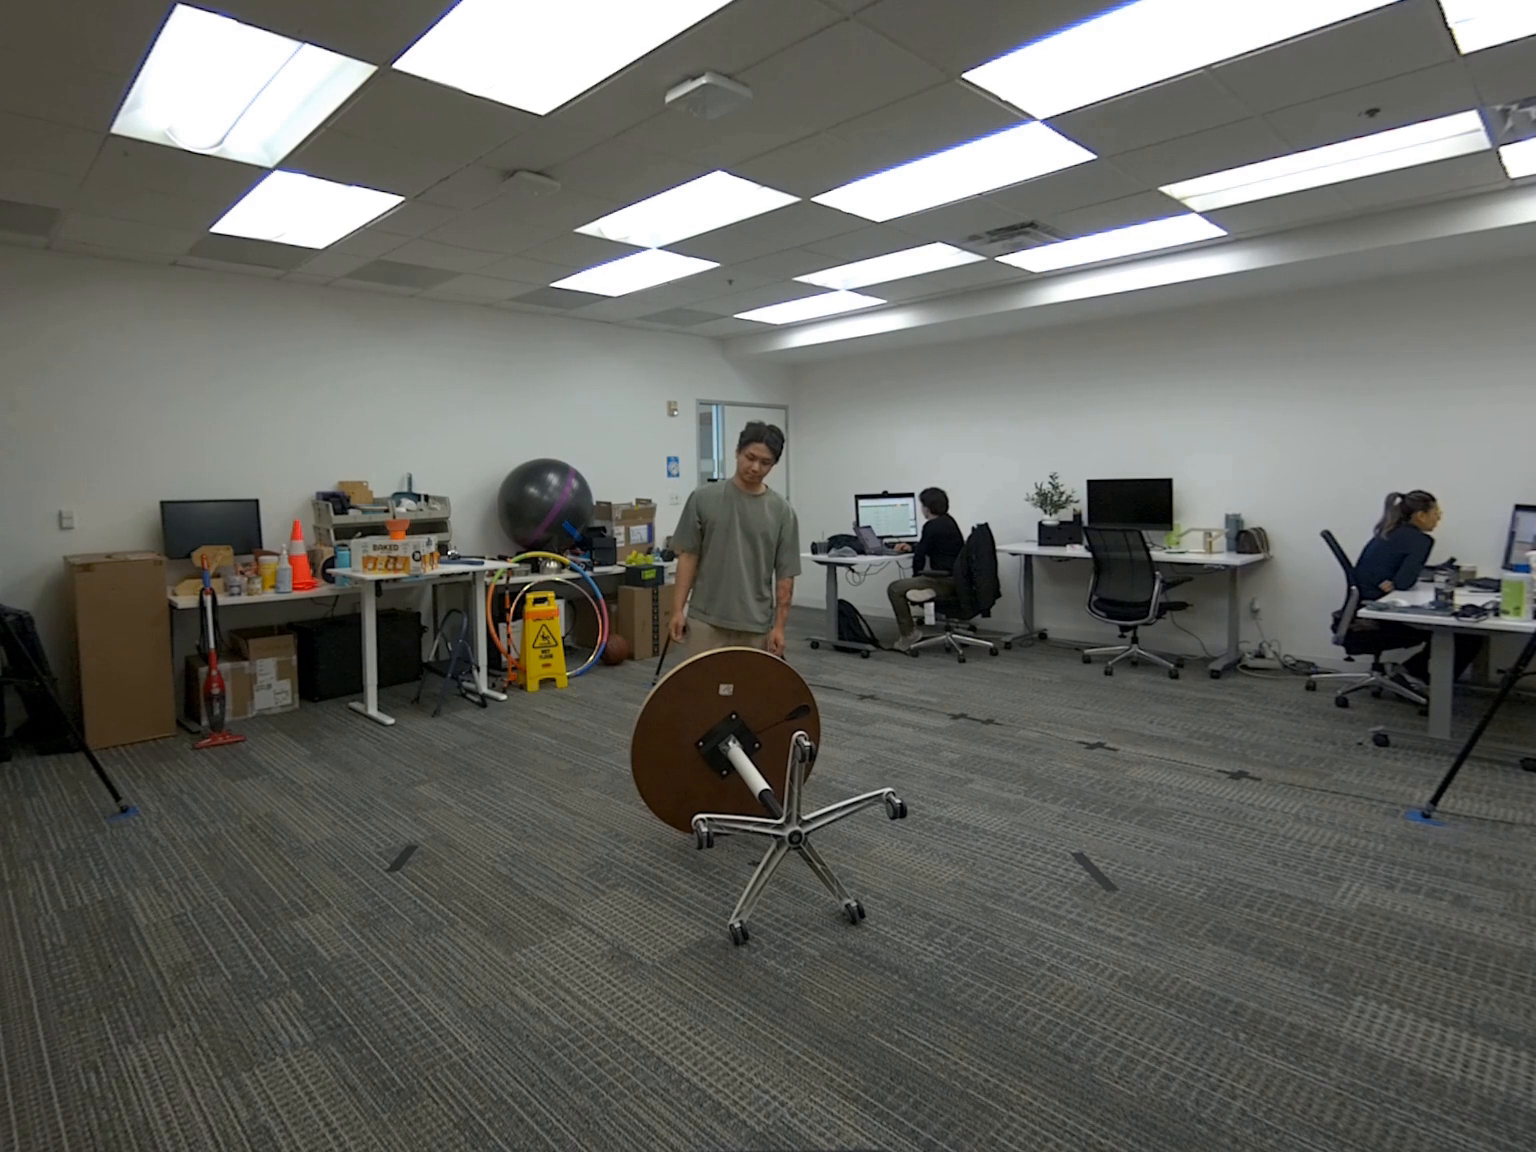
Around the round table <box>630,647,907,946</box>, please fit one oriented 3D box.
[{"bbox_3d":[-0.027,0.732,2.928,0.773,0.777,0.807,-2,12,-18],"label":"round table"}]
